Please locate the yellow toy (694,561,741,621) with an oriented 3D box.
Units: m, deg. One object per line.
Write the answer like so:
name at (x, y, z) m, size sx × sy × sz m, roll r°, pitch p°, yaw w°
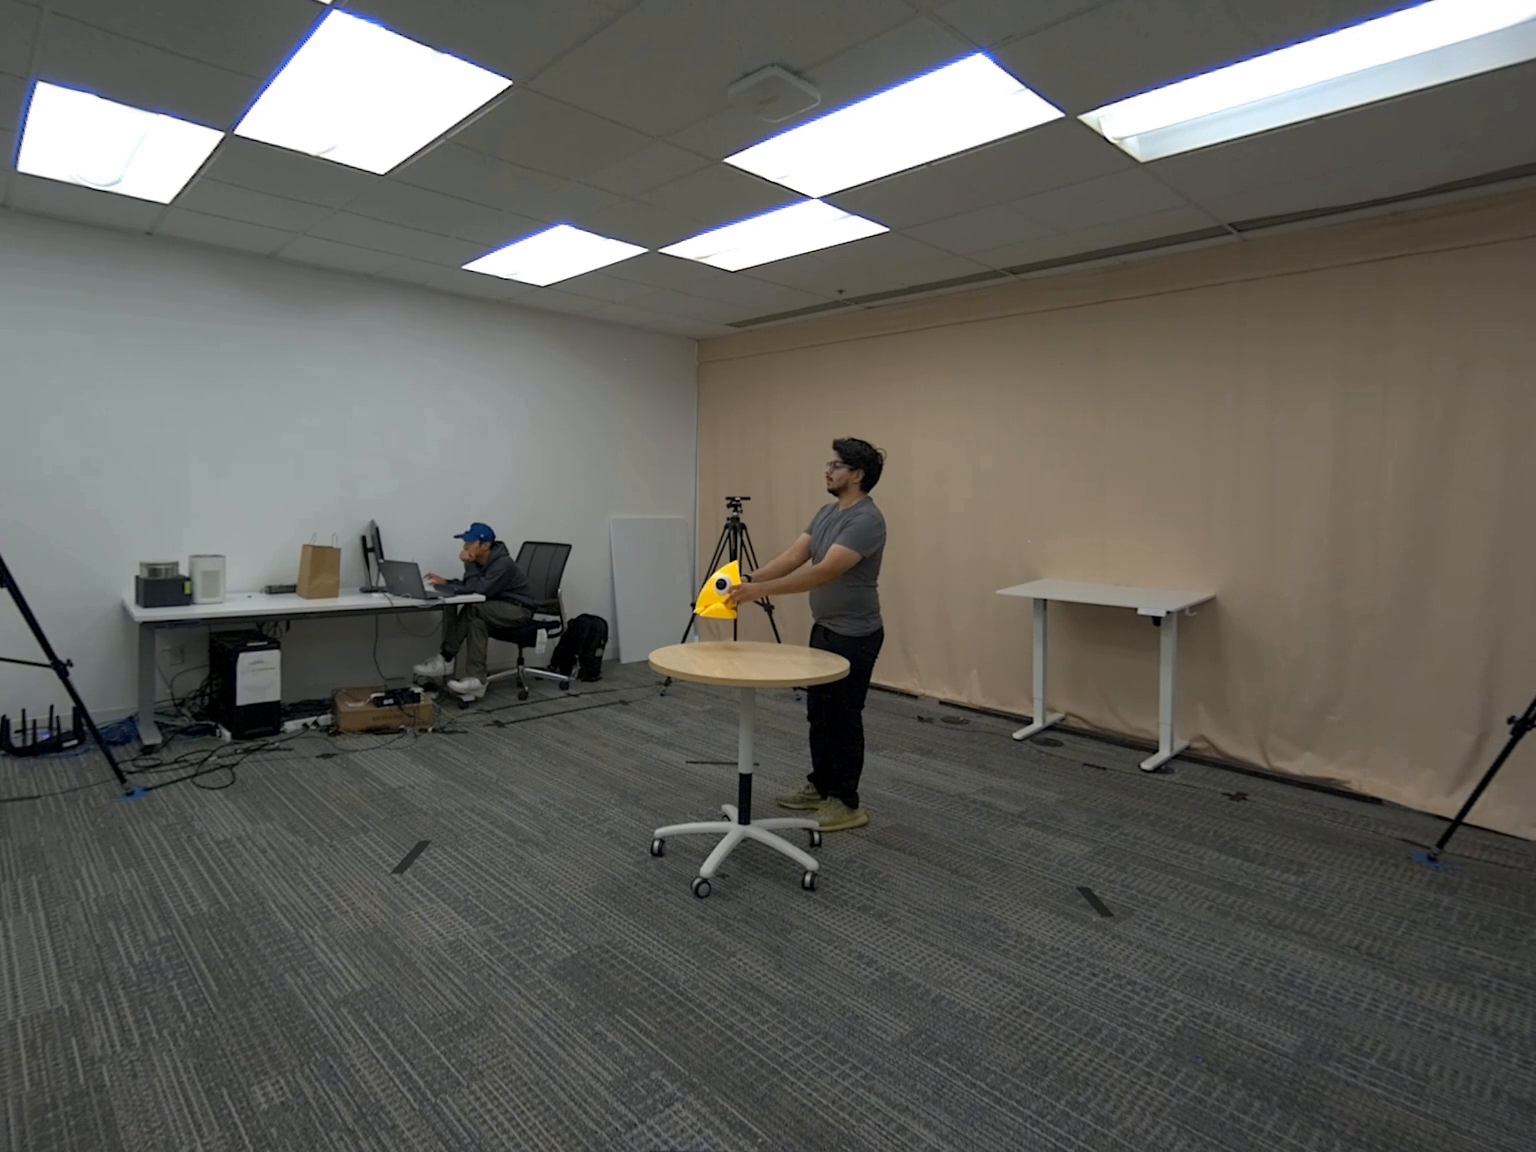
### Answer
yellow toy at (-0.204, 0.051, 3.438) m, size 0.191 × 0.230 × 0.207 m, roll 4°, pitch 2°, yaw -14°
